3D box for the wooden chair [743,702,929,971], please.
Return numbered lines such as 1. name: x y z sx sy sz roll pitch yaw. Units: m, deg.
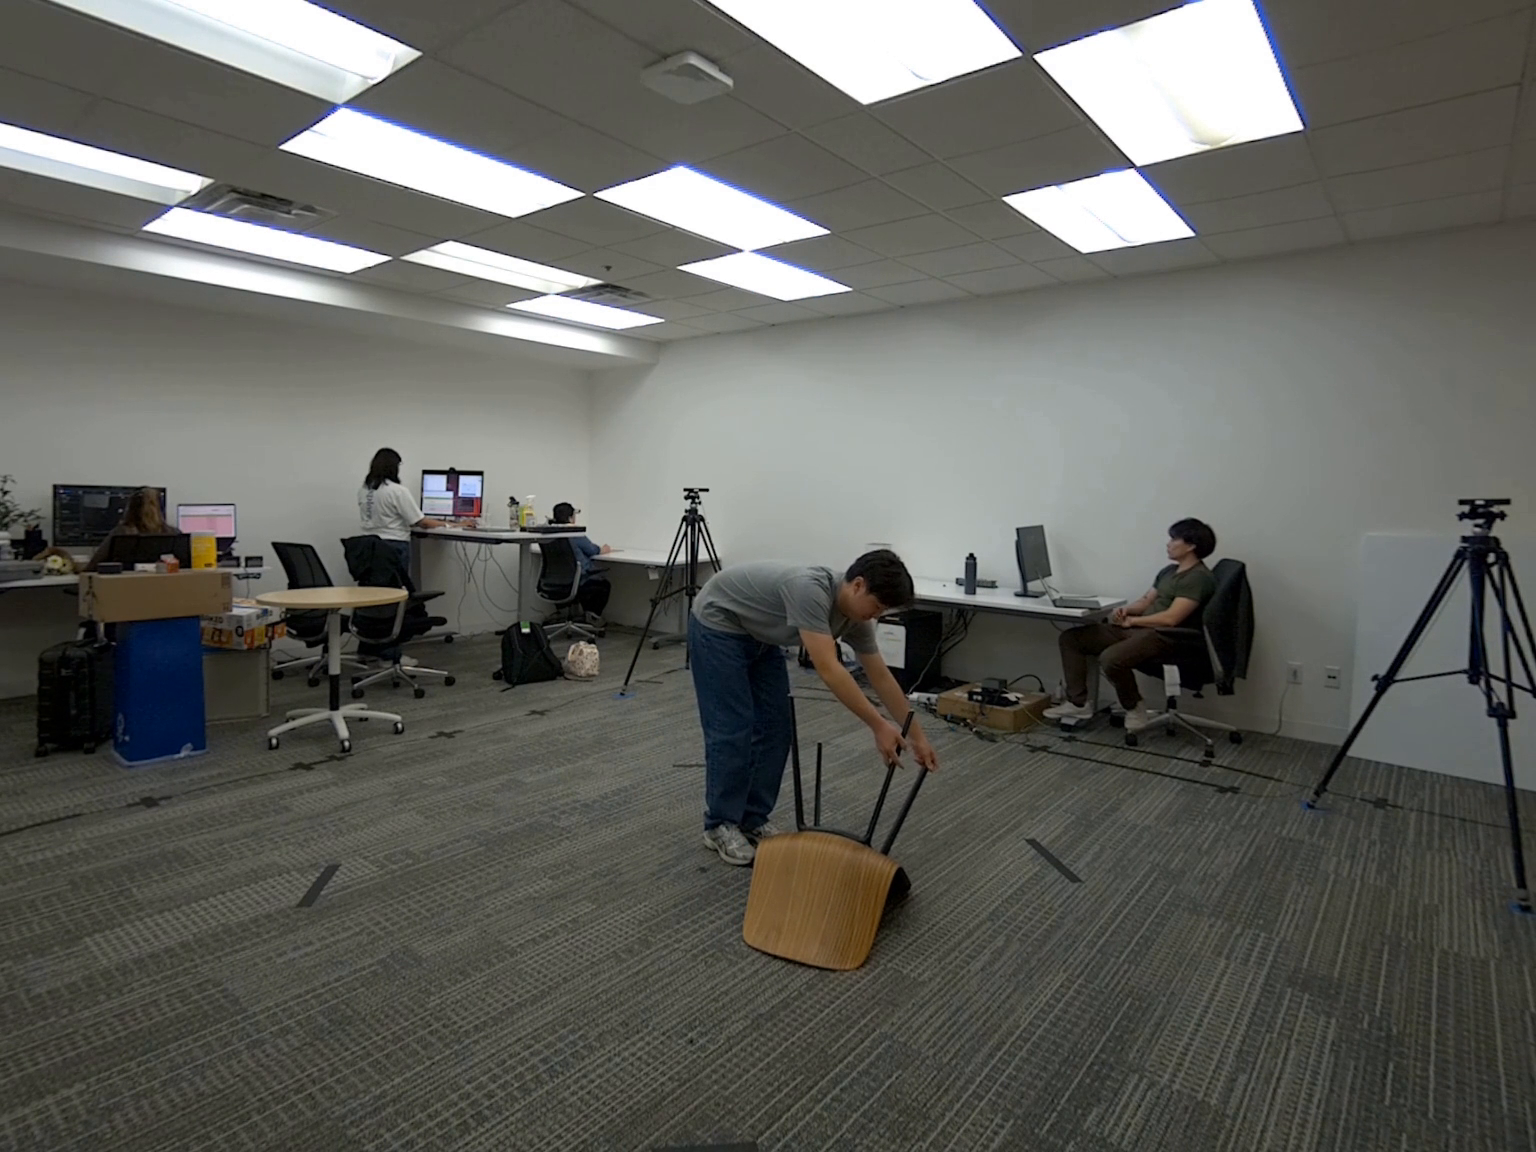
1. wooden chair: 0.240 0.928 2.922 0.489 0.891 0.503 2 -37 21
